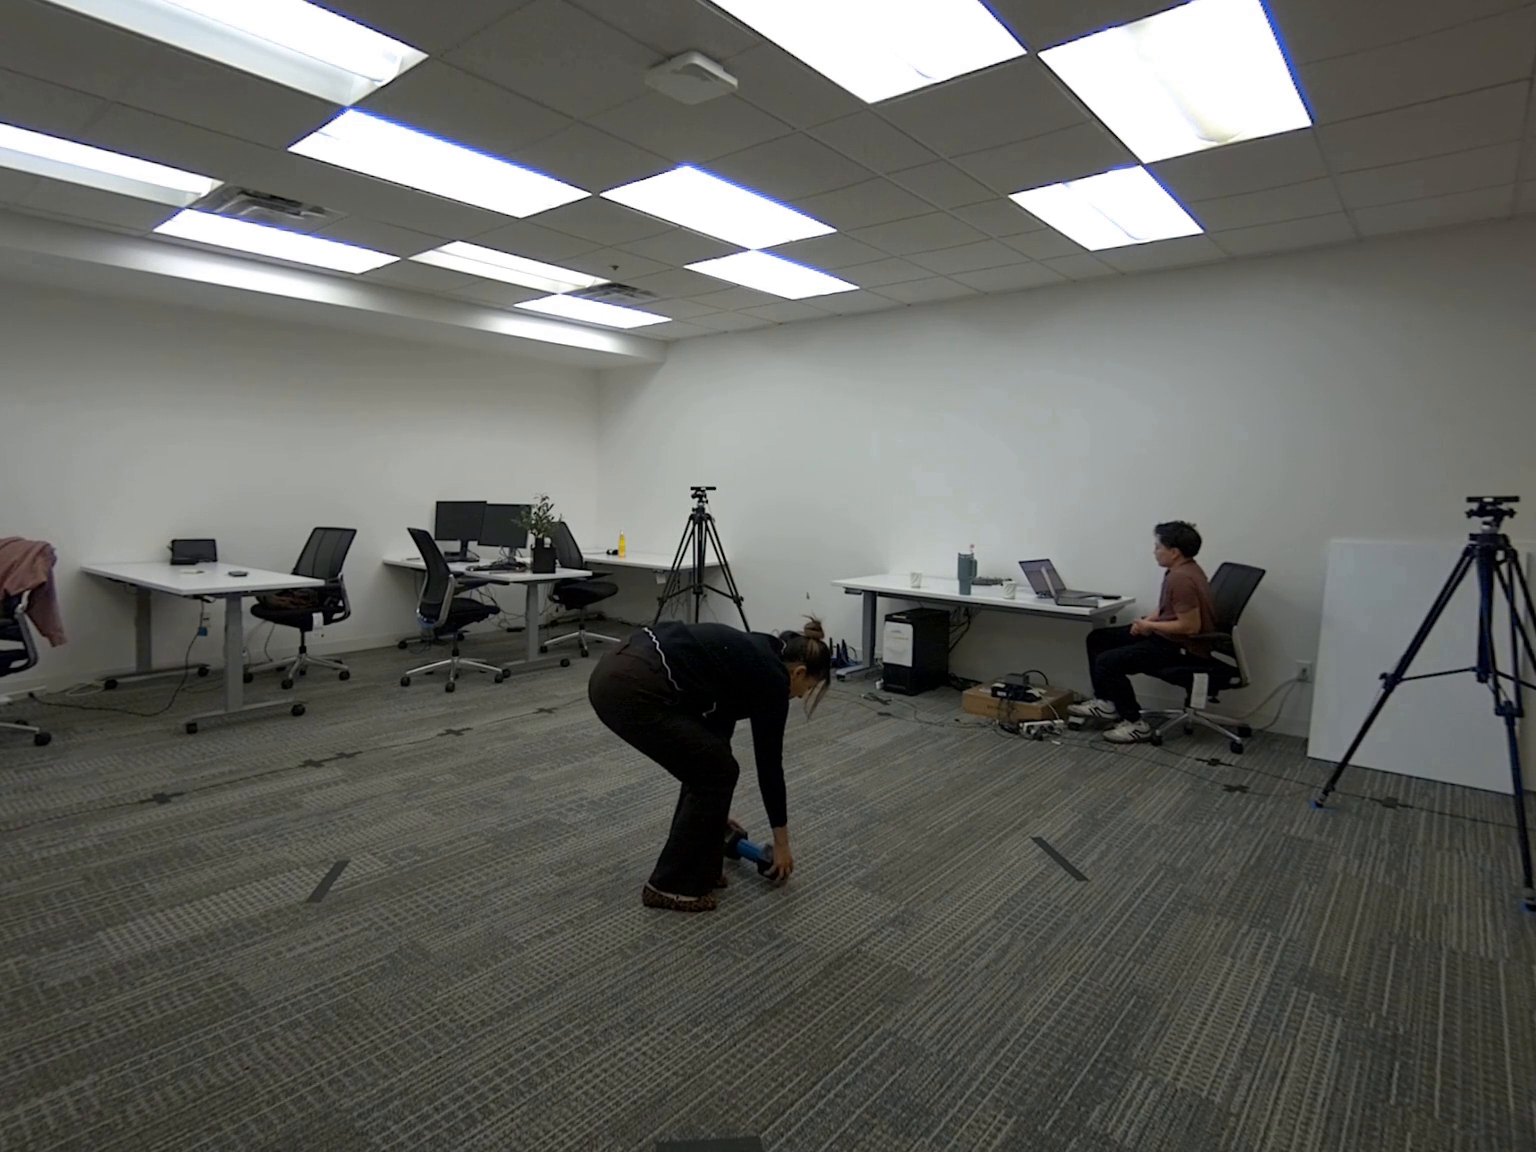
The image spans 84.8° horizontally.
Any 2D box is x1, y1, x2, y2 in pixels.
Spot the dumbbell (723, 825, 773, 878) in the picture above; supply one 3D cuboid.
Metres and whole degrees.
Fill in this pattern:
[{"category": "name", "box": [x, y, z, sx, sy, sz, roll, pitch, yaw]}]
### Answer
[{"category": "dumbbell", "box": [-0.066, 1.003, 3.076, 0.304, 0.109, 0.118, 8, -16, 46]}]
